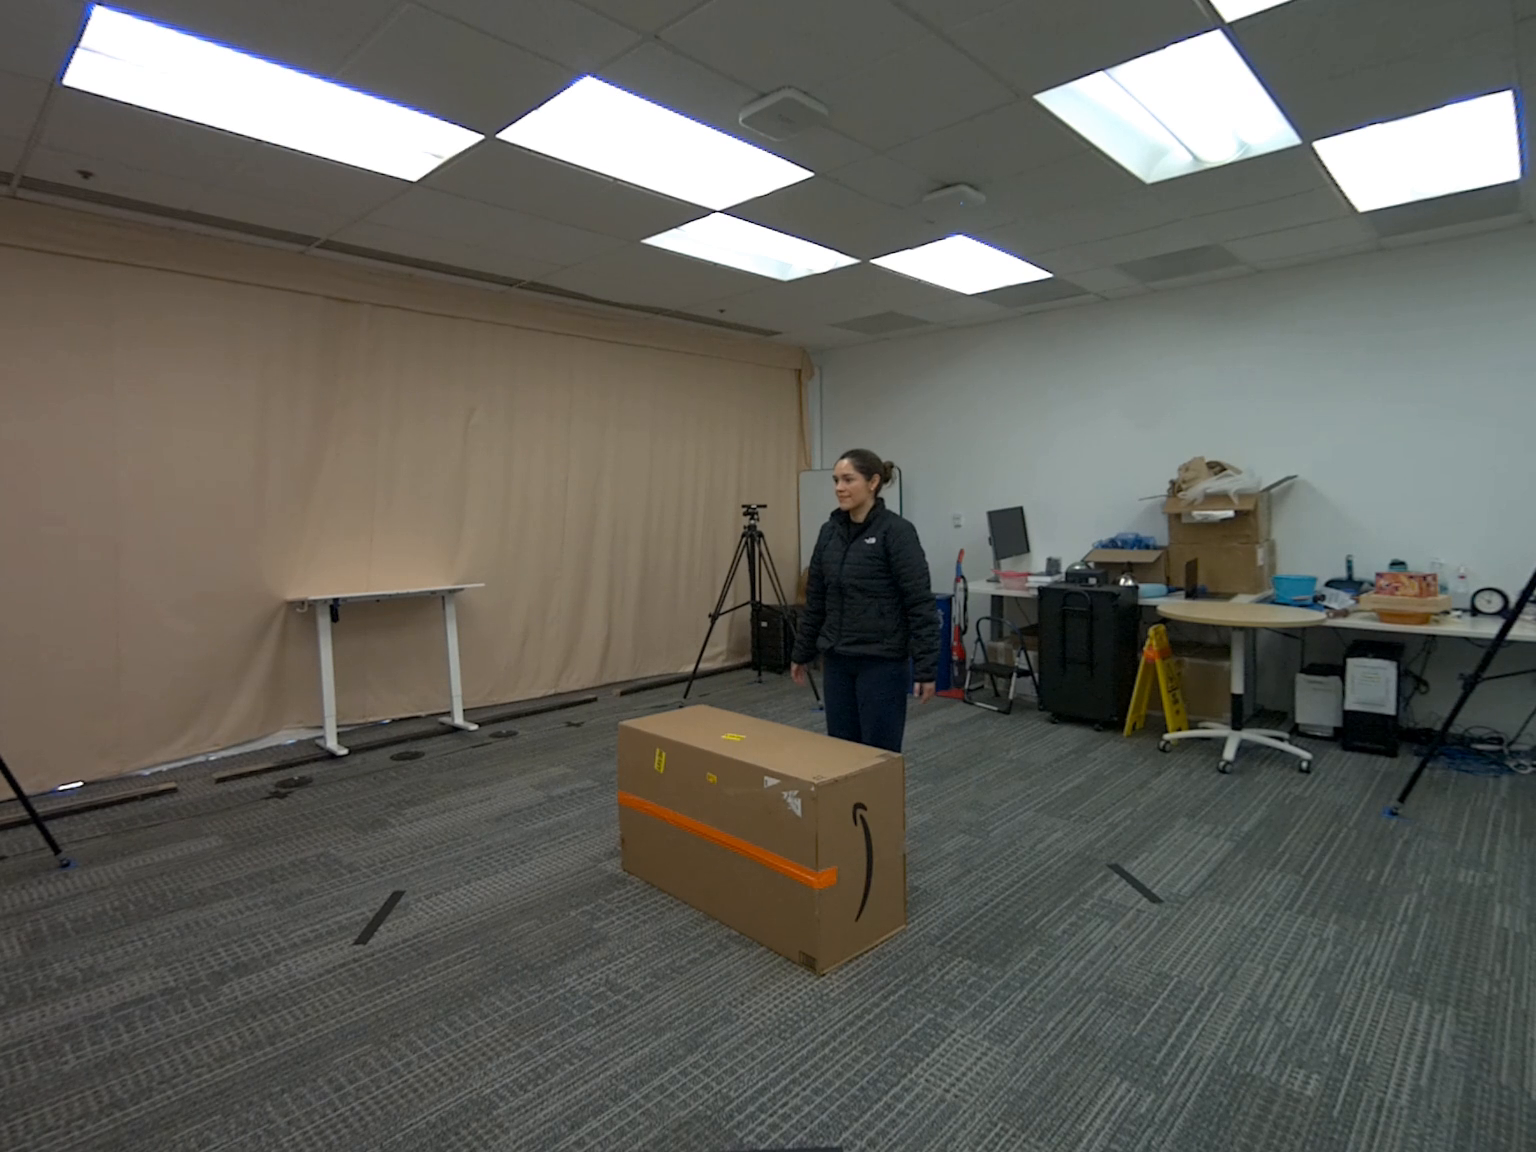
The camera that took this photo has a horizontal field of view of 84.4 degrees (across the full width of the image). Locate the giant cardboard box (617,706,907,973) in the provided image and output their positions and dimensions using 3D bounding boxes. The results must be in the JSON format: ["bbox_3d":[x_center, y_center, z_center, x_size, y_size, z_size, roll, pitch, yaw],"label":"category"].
[{"bbox_3d":[-0.053,0.856,2.980,0.433,0.582,1.061,-6,6,-43],"label":"giant cardboard box"}]
